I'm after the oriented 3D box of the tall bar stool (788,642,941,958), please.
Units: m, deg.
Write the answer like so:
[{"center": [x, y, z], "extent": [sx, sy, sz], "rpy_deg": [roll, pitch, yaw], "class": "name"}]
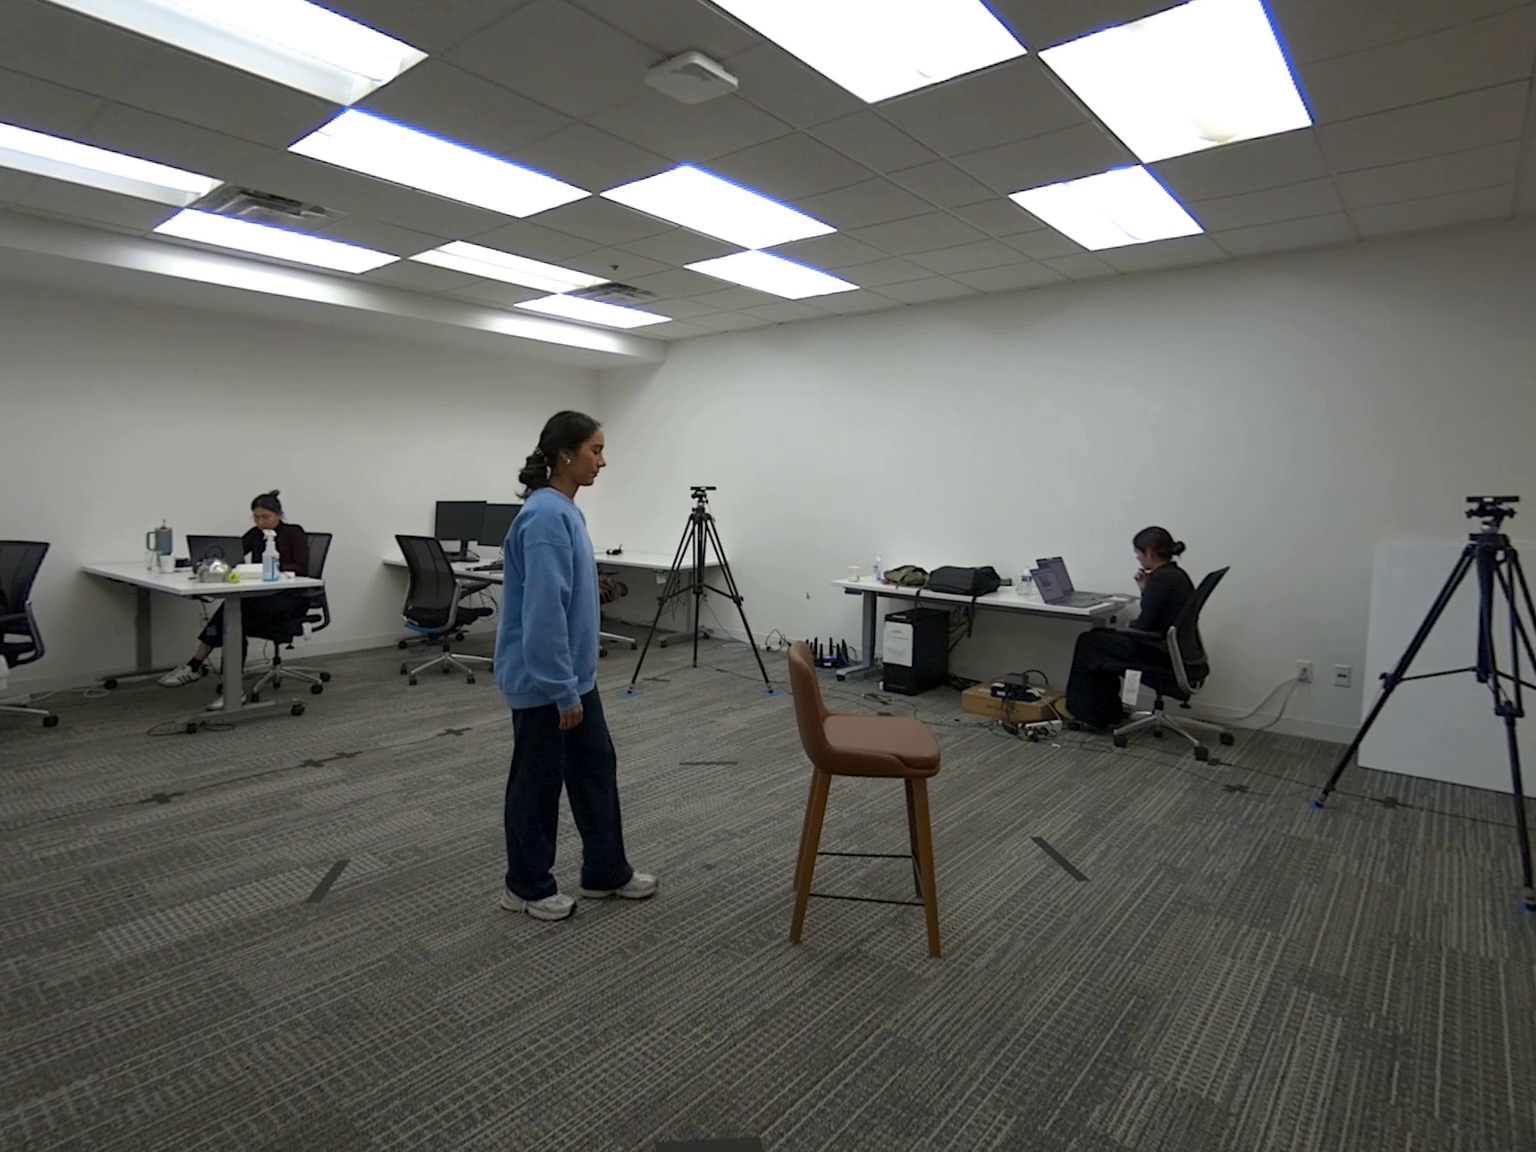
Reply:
[{"center": [0.301, 0.679, 2.737], "extent": [0.471, 0.887, 0.454], "rpy_deg": [0, 3, 6], "class": "tall bar stool"}]
